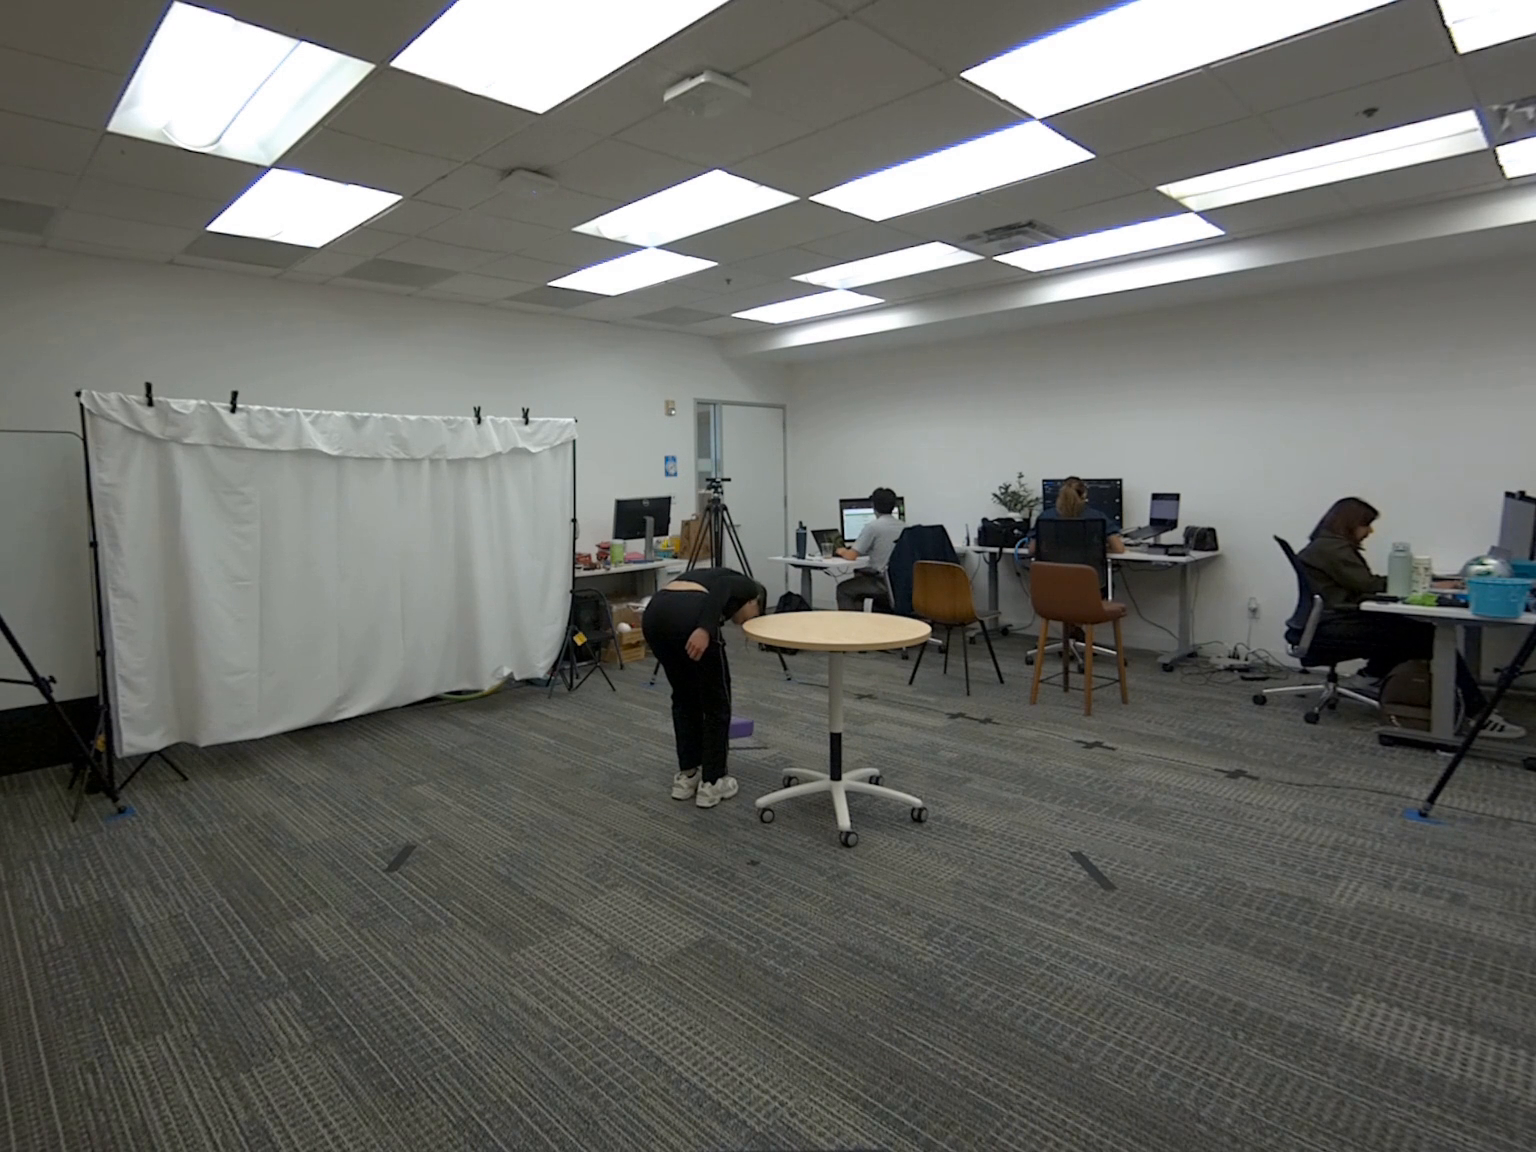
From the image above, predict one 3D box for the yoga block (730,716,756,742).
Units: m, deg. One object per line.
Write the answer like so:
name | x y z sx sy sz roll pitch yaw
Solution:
yoga block | -0.185 0.722 4.073 0.153 0.076 0.223 3 -2 31
